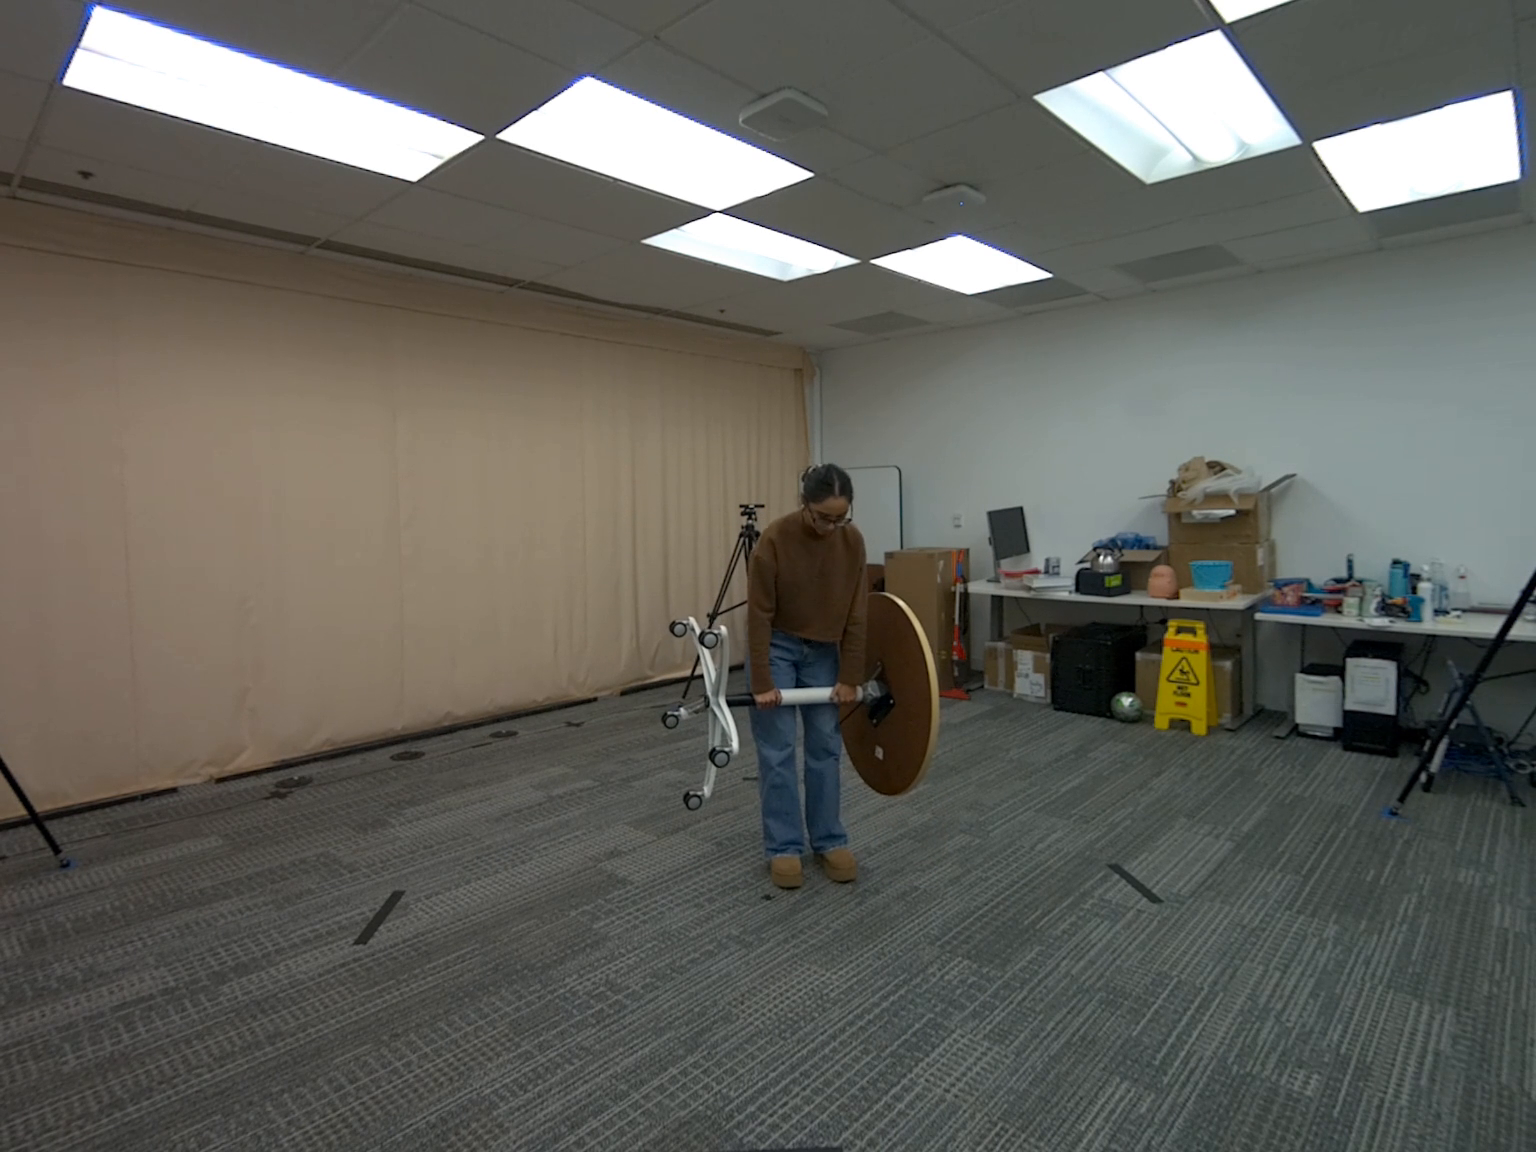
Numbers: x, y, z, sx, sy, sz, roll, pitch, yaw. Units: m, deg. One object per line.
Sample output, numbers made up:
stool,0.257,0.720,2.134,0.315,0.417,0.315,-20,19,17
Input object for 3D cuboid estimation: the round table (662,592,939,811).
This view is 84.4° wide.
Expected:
round table,0.079,0.463,3.122,0.779,0.762,0.780,-1,4,-20
